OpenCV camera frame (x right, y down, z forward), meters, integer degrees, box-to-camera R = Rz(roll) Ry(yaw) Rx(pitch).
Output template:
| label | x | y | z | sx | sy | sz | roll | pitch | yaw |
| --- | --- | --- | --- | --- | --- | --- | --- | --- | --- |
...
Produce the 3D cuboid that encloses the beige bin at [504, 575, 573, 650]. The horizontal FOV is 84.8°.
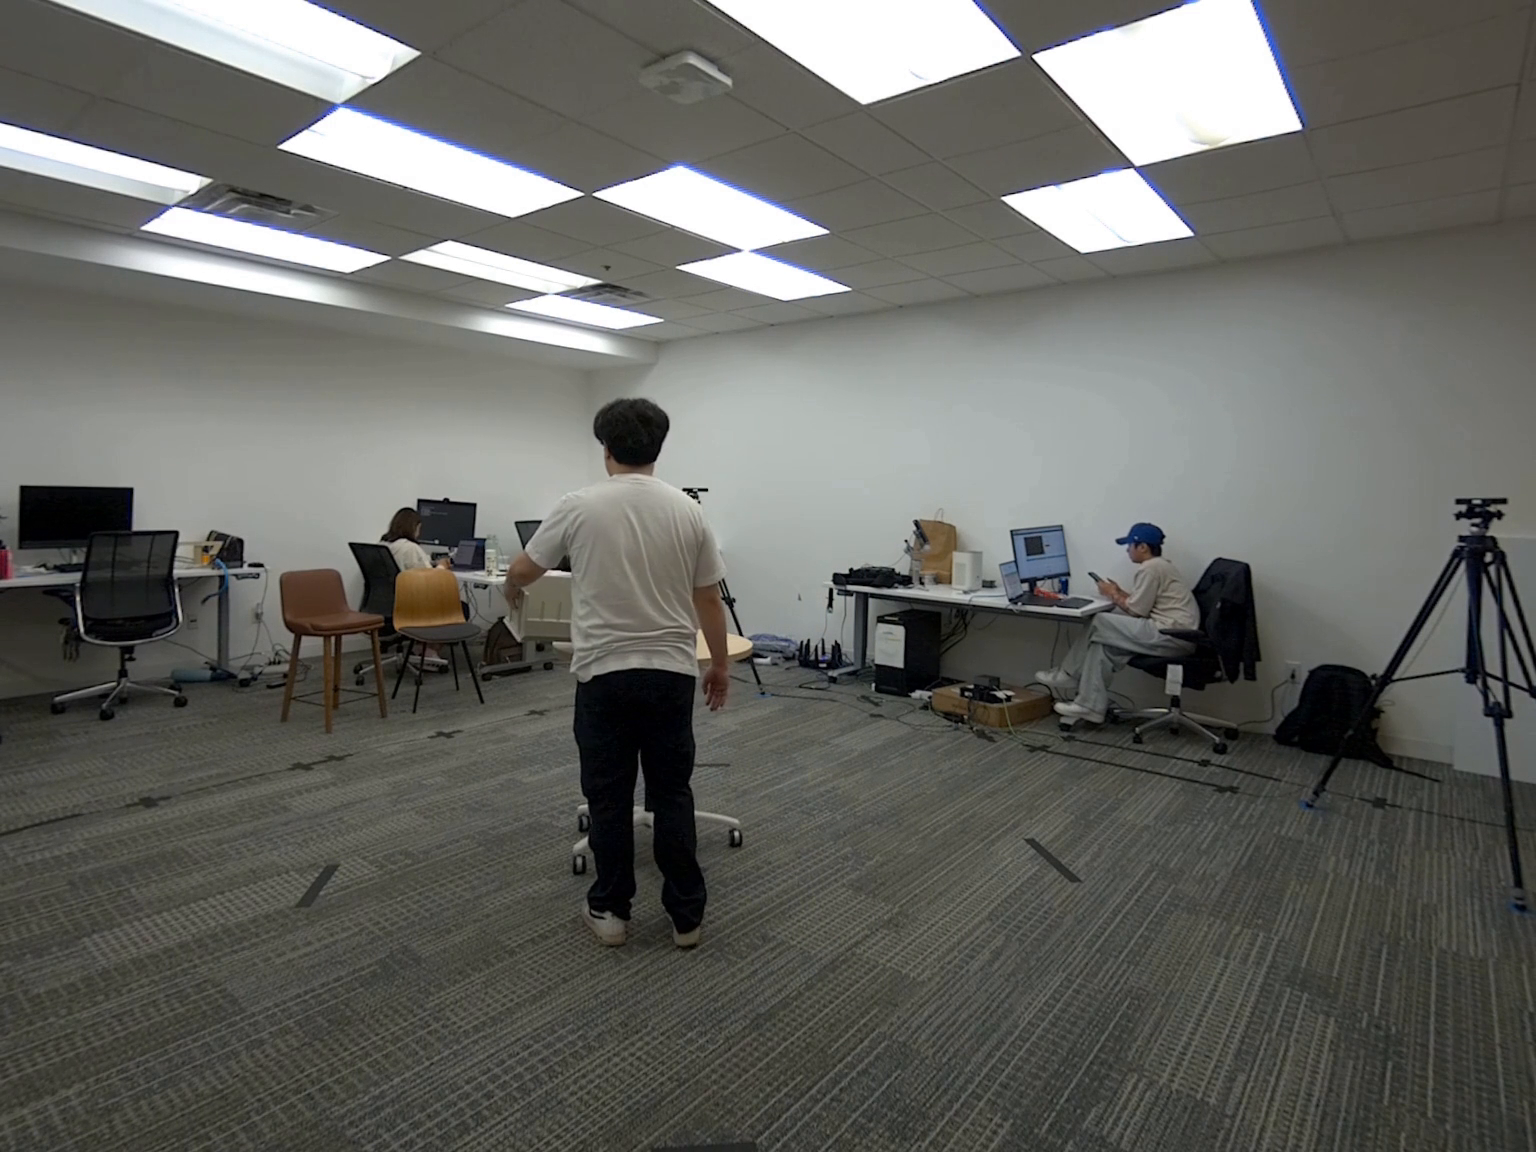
| label | x | y | z | sx | sy | sz | roll | pitch | yaw |
| --- | --- | --- | --- | --- | --- | --- | --- | --- | --- |
| beige bin | -0.706 | 0.125 | 3.058 | 0.411 | 0.188 | 0.389 | 3 | 8 | -26 |
